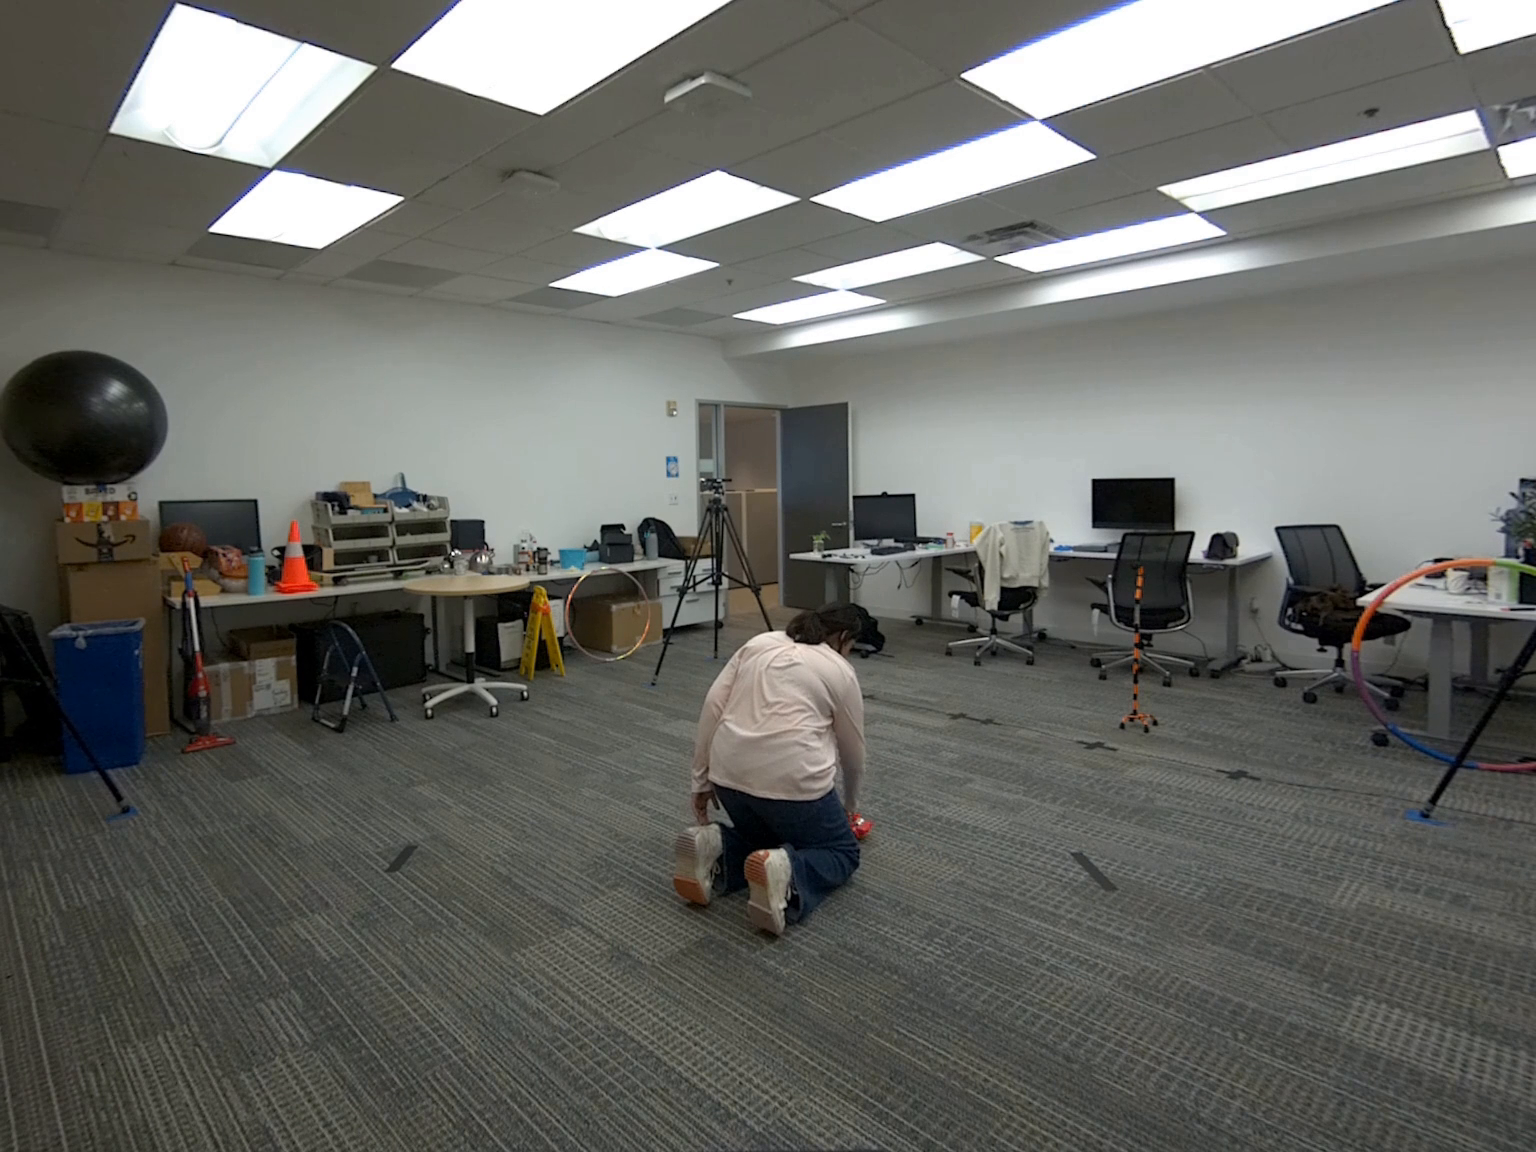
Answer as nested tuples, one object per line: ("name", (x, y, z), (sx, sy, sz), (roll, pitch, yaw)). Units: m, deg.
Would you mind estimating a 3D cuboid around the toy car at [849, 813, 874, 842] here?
("toy car", (0.295, 0.983, 3.339), (0.259, 0.083, 0.127), (-10, 0, 27))
